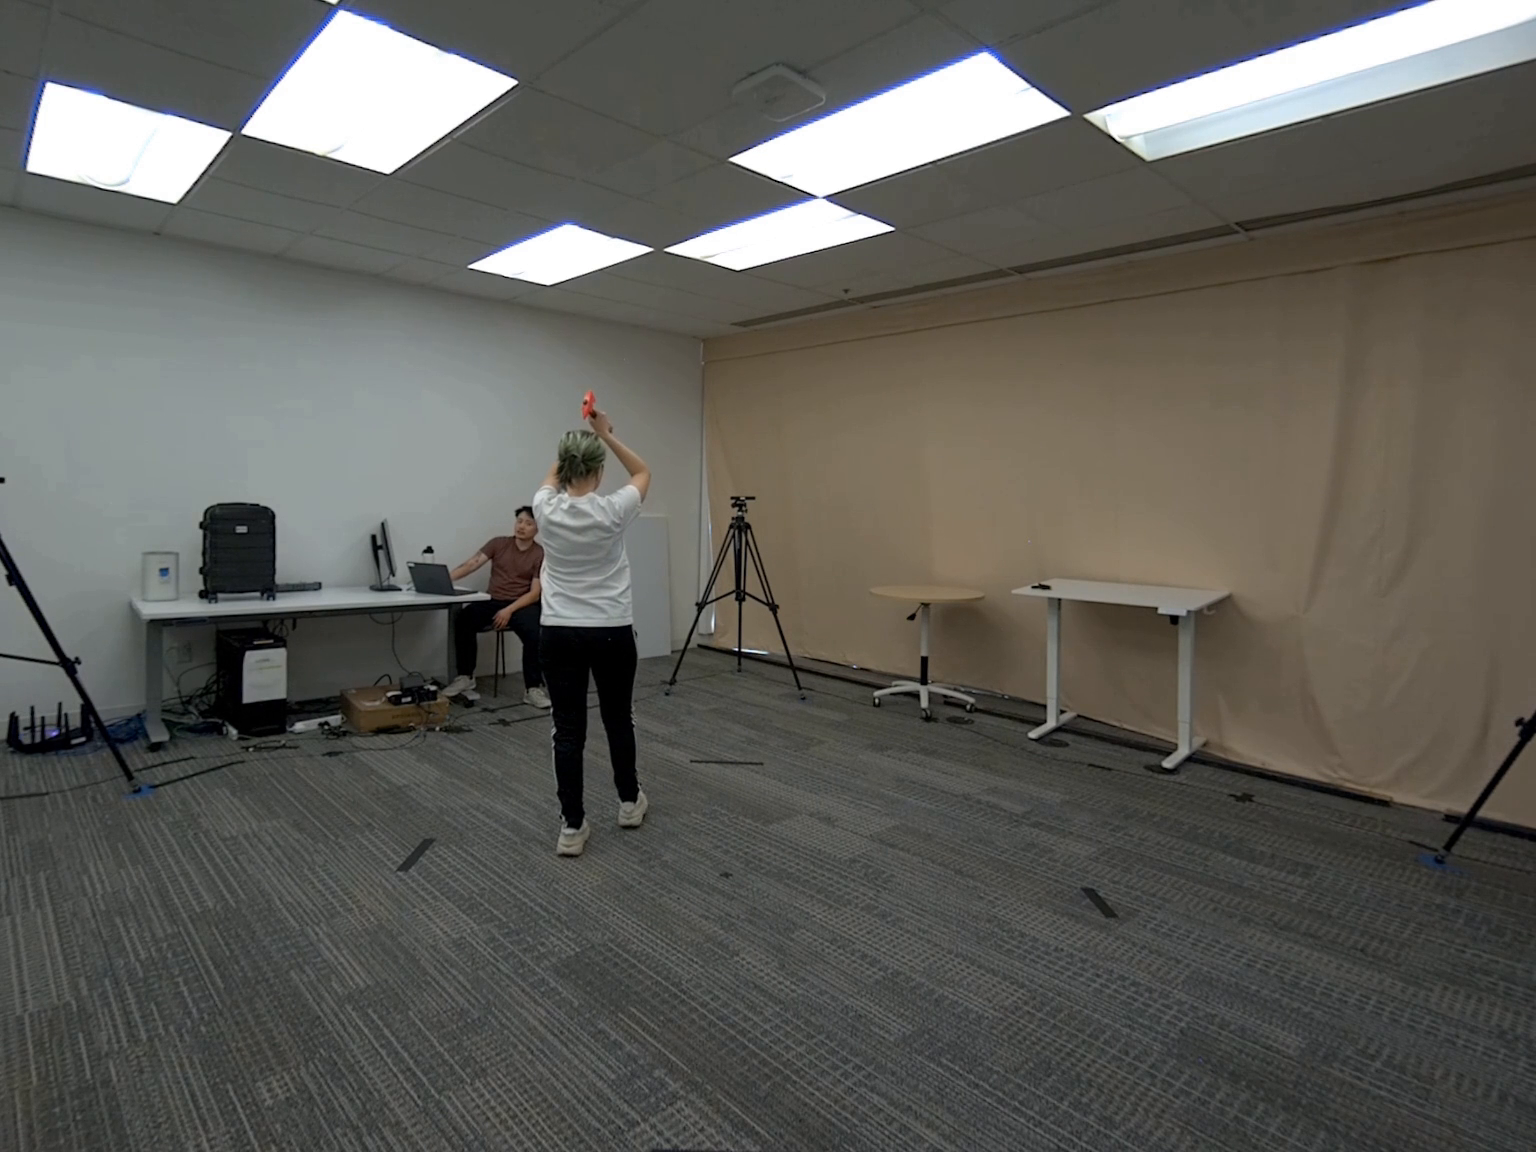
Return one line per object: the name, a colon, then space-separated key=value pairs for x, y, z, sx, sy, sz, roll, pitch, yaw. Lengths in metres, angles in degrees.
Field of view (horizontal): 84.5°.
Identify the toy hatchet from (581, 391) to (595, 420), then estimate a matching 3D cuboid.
toy hatchet: x=-0.709 y=-0.680 z=3.451 sx=0.030 sy=0.131 sz=0.266 roll=1 pitch=-3 yaw=12
